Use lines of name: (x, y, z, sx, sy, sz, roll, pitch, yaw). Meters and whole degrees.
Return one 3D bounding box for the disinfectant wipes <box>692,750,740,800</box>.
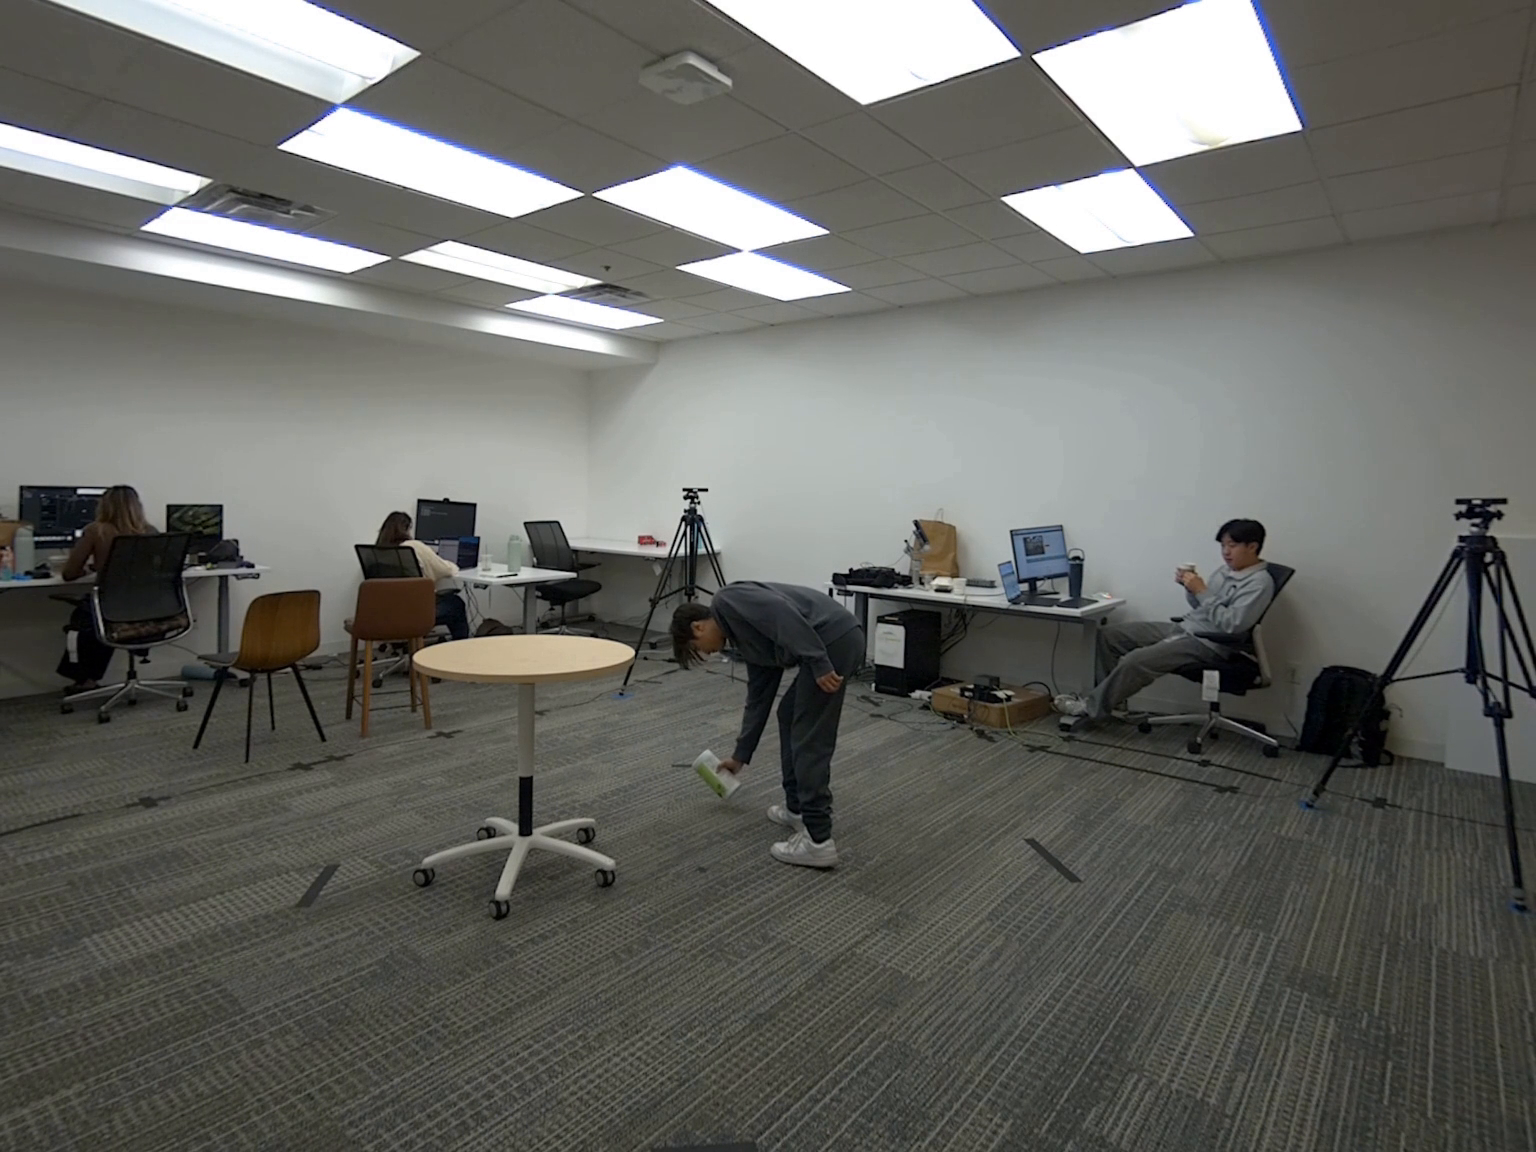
disinfectant wipes: (-0.236, 0.870, 3.748, 0.223, 0.117, 0.115, 44, 19, 16)
